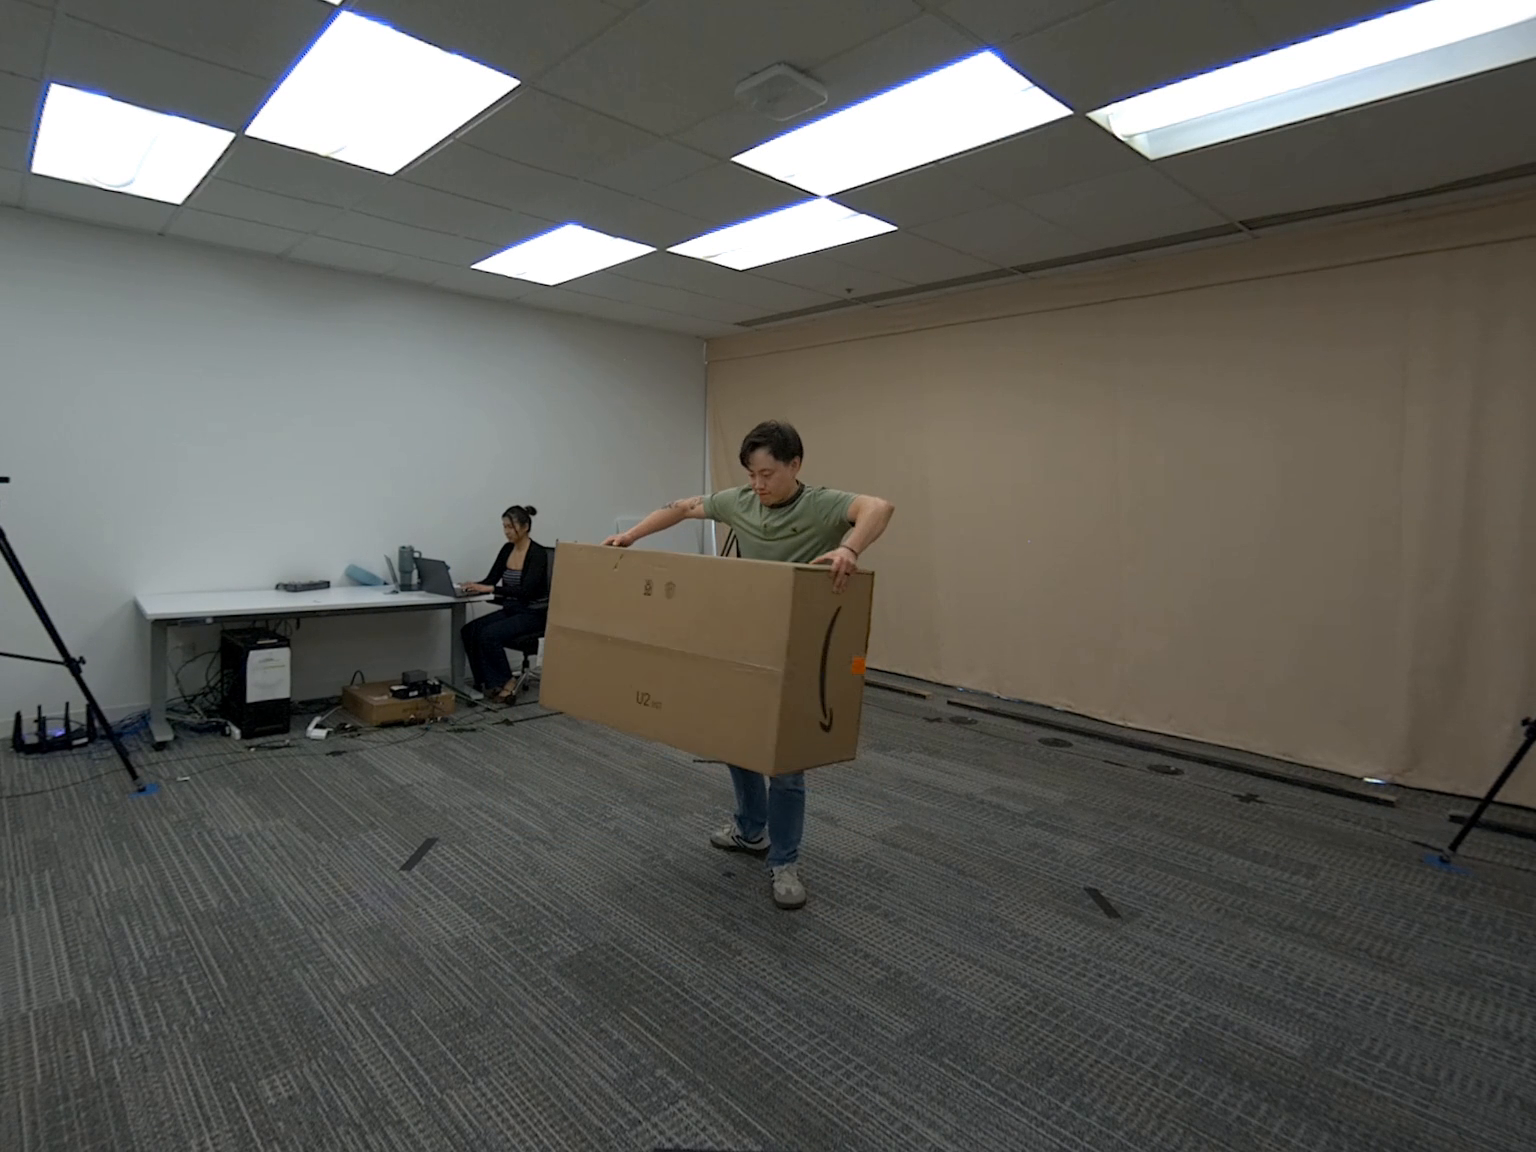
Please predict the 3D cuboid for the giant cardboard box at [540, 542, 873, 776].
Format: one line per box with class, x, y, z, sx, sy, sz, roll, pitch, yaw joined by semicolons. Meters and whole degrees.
giant cardboard box;-0.238;0.229;2.740;1.052;0.578;0.415;5;0;38
